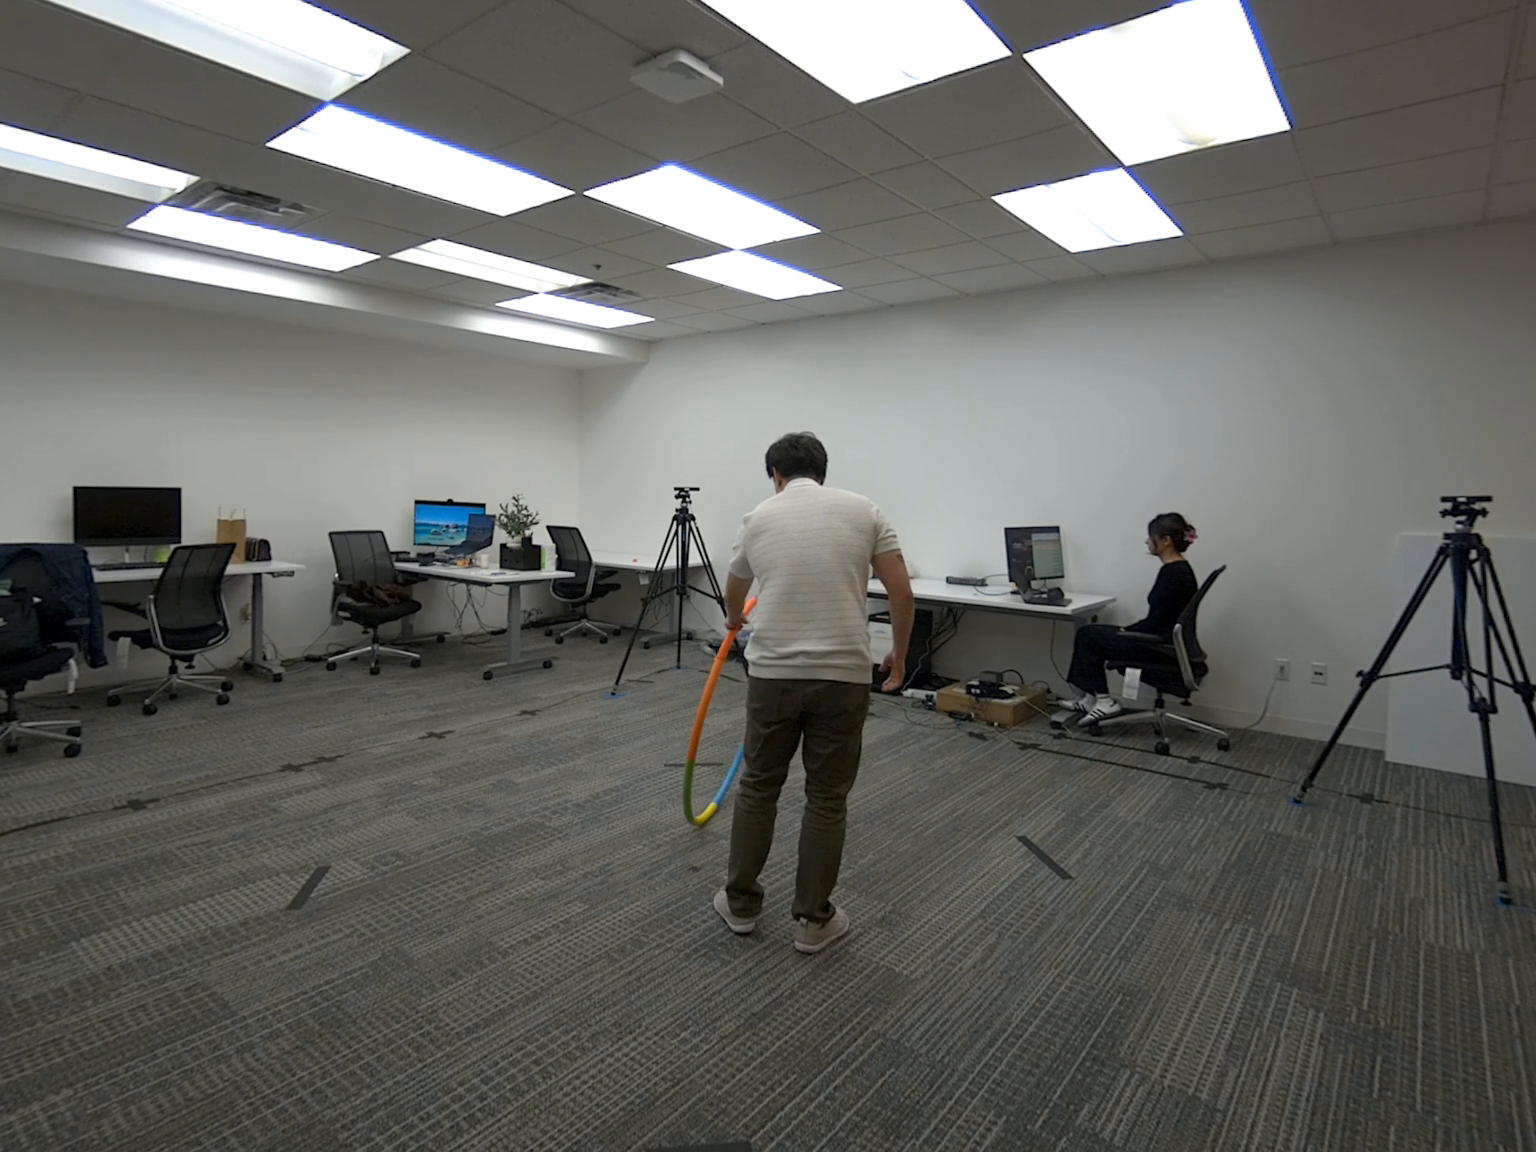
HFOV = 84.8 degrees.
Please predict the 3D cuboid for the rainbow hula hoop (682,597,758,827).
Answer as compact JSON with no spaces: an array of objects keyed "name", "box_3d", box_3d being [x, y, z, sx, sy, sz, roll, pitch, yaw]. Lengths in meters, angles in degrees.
[{"name":"rainbow hula hoop","box_3d":[-0.167,0.554,3.523,0.036,0.974,0.965,15,8,13]}]
